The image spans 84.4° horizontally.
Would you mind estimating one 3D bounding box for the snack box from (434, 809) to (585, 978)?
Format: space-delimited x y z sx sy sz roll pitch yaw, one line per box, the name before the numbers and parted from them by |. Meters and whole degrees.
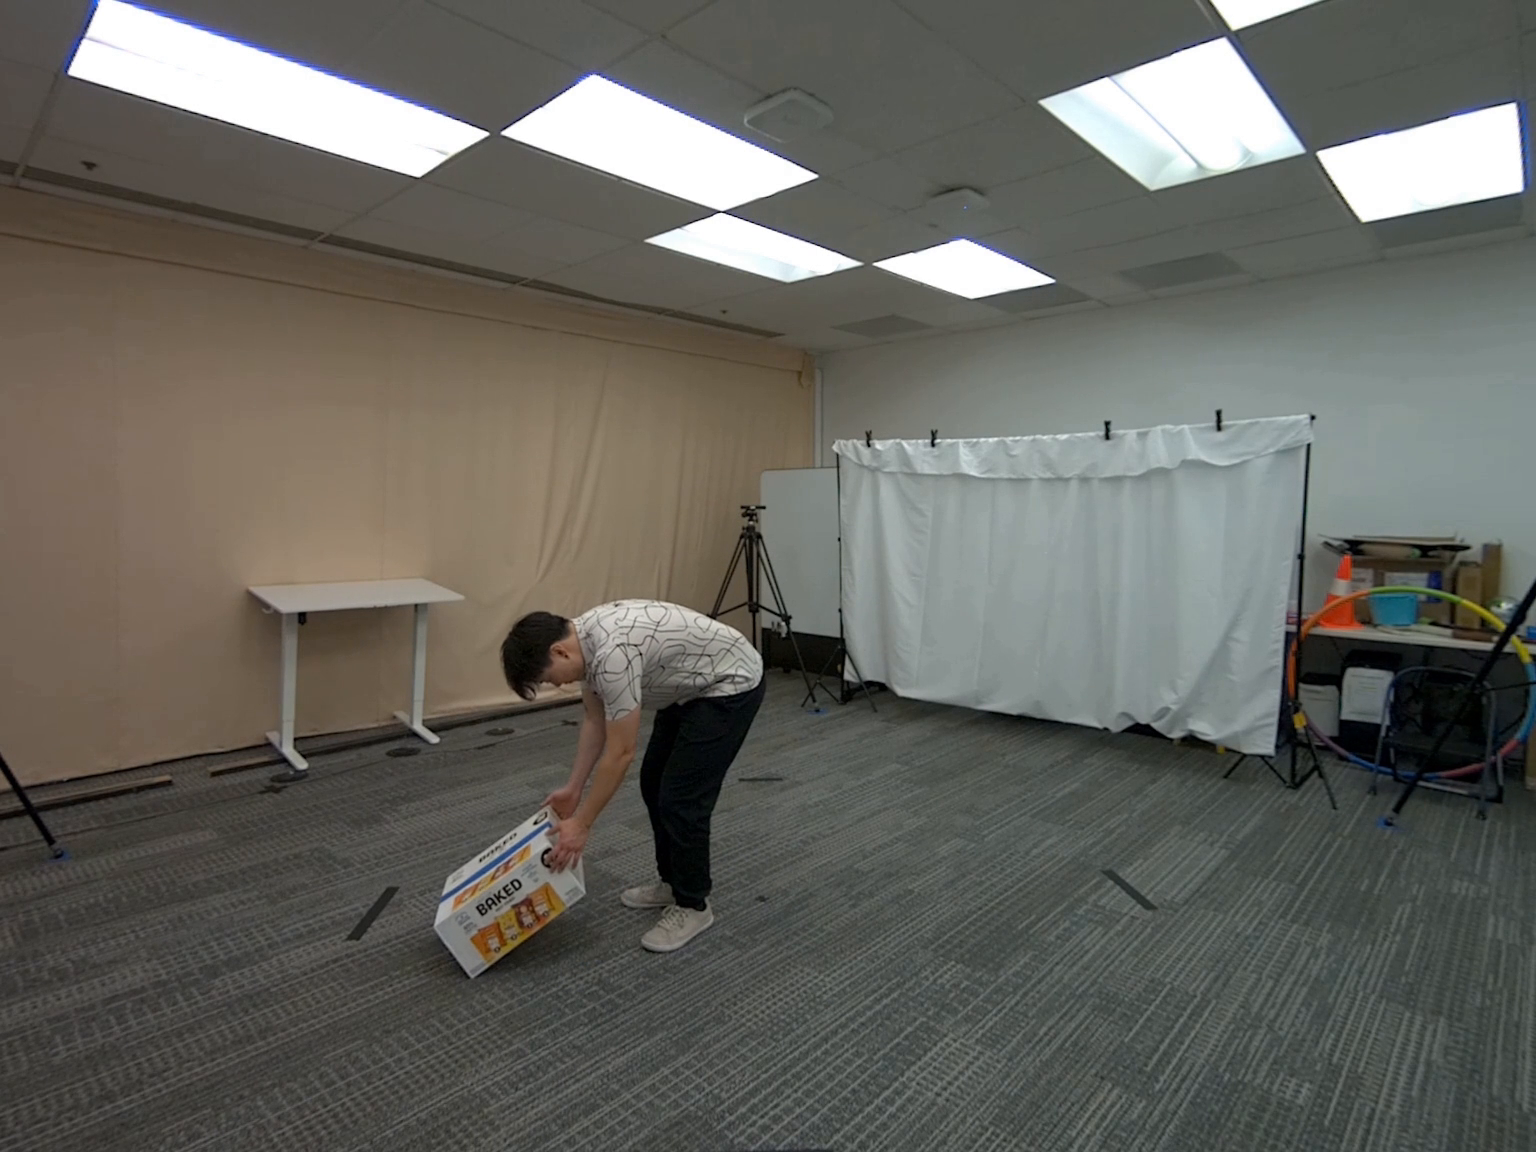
snack box | -0.810 0.991 2.663 0.403 0.203 0.346 -35 11 -8
